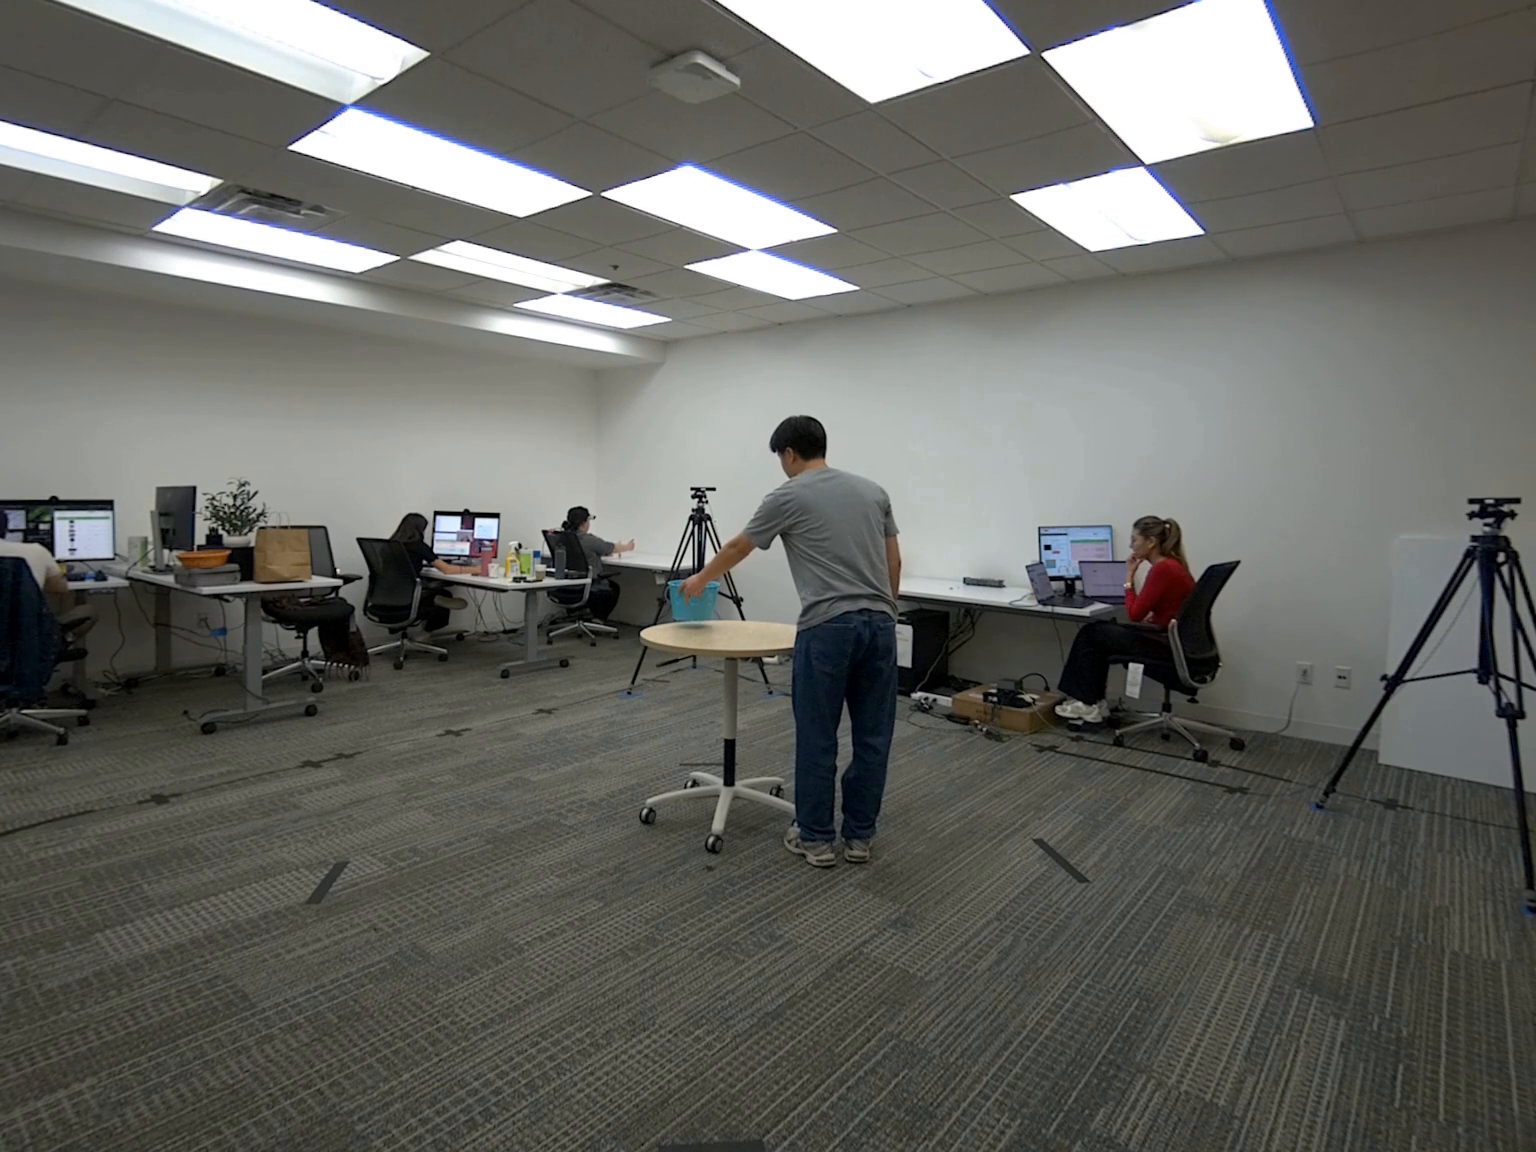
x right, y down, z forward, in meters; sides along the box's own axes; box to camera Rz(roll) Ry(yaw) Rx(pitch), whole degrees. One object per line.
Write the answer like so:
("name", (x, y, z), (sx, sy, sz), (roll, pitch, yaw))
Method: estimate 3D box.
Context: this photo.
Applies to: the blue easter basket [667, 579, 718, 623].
("blue easter basket", (-0.336, 0.102, 3.757), (0.243, 0.155, 0.245), (1, 5, -2))
